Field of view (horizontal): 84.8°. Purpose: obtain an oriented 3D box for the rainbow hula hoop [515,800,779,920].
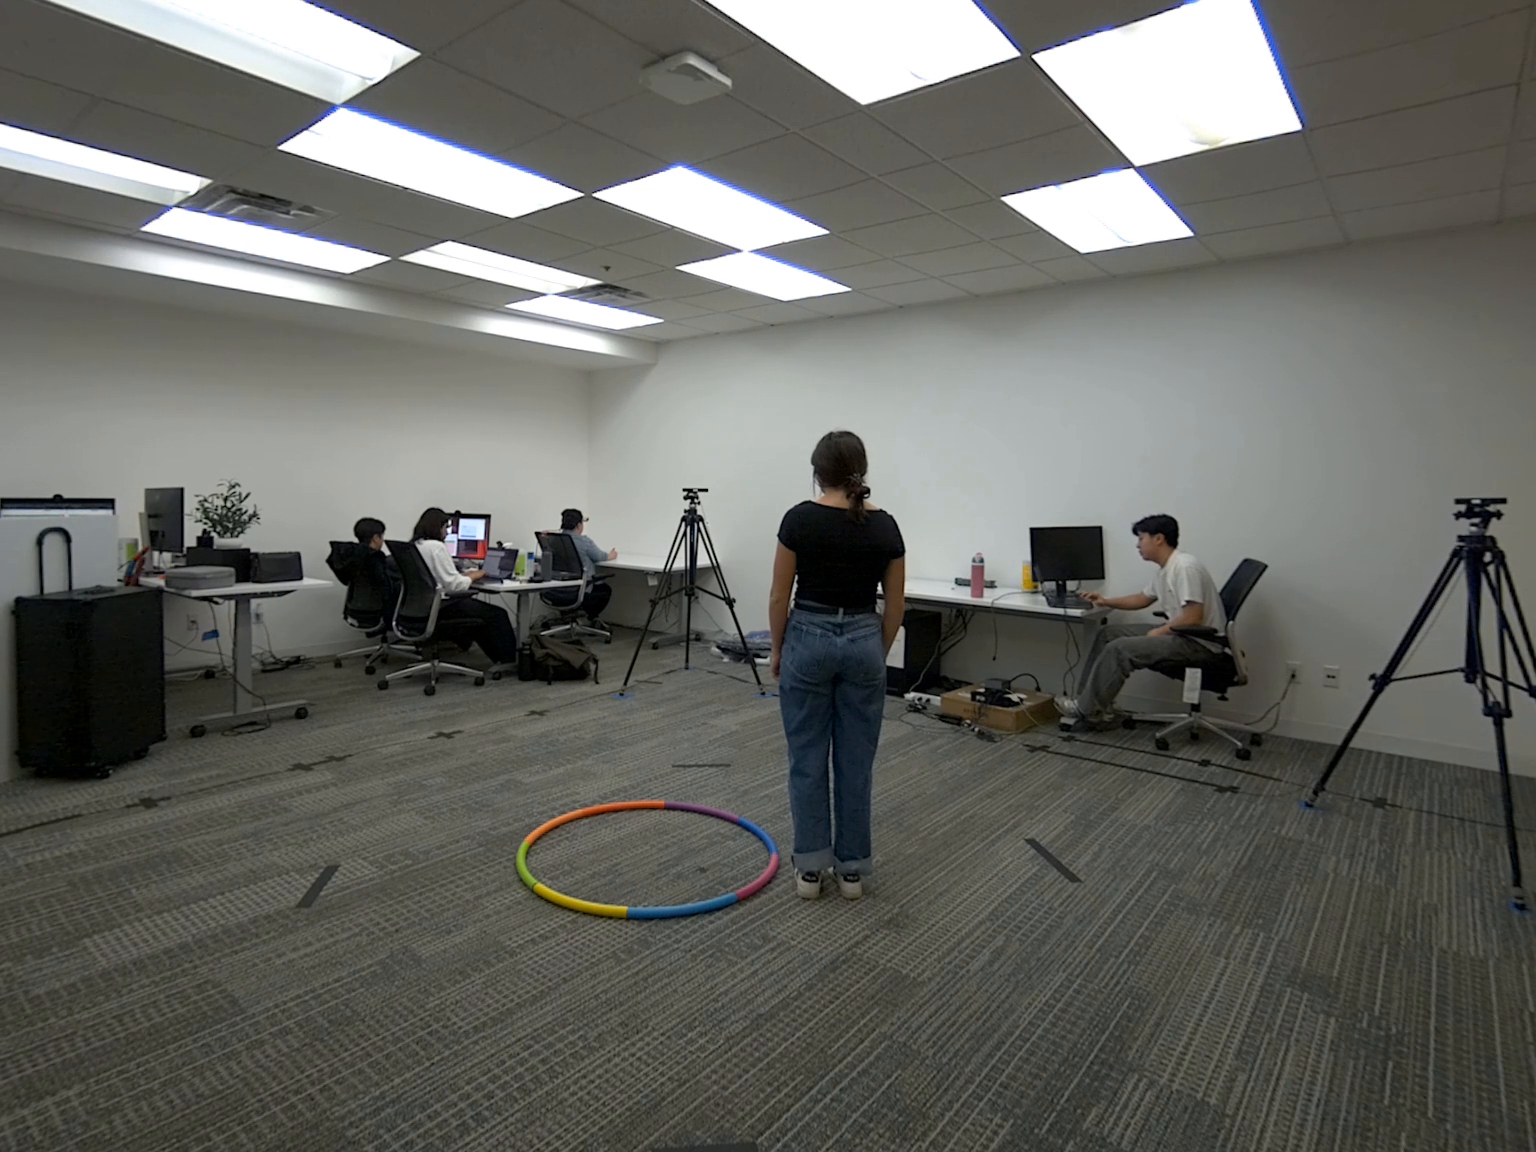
[{"bbox_3d":[-0.446,1.020,3.216,0.978,0.035,0.984,1,5,-2],"label":"rainbow hula hoop"}]
